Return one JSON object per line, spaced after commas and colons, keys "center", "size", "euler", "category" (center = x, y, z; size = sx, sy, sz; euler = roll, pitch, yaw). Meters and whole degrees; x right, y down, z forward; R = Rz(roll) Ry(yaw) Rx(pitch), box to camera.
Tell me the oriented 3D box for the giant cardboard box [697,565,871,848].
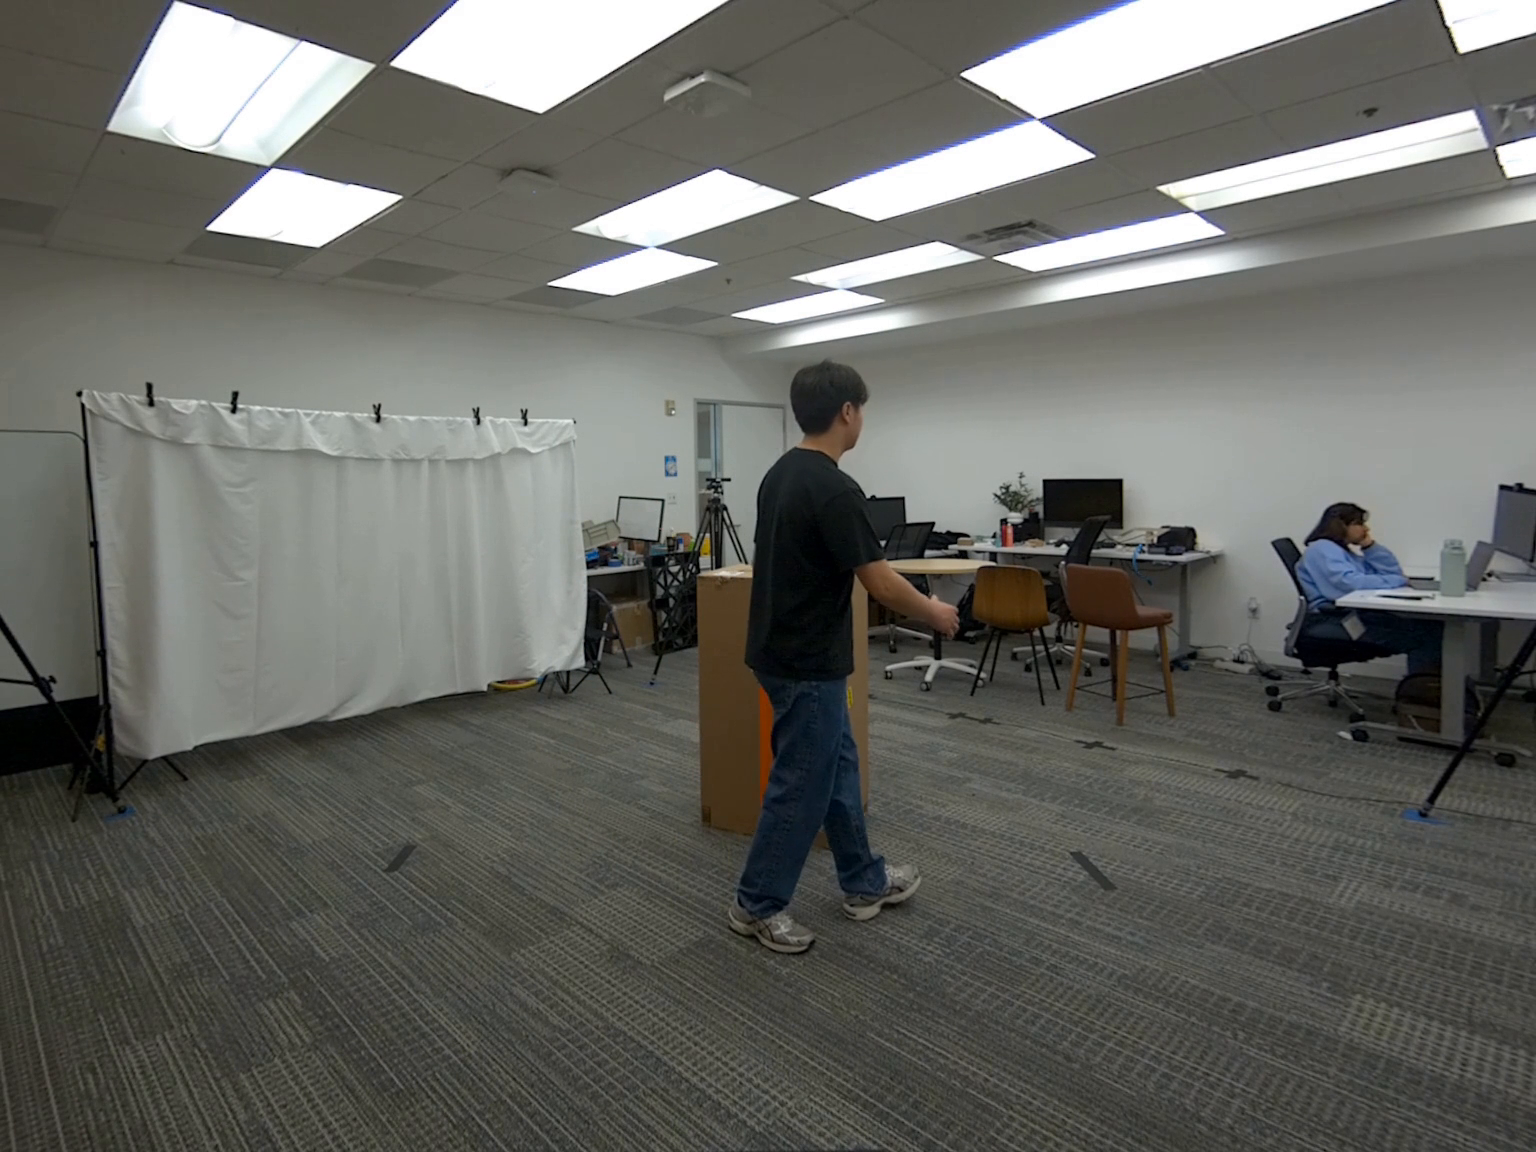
{"center": [0.071, 0.485, 3.471], "size": [0.598, 1.023, 0.438], "euler": [2, 5, 27], "category": "giant cardboard box"}
